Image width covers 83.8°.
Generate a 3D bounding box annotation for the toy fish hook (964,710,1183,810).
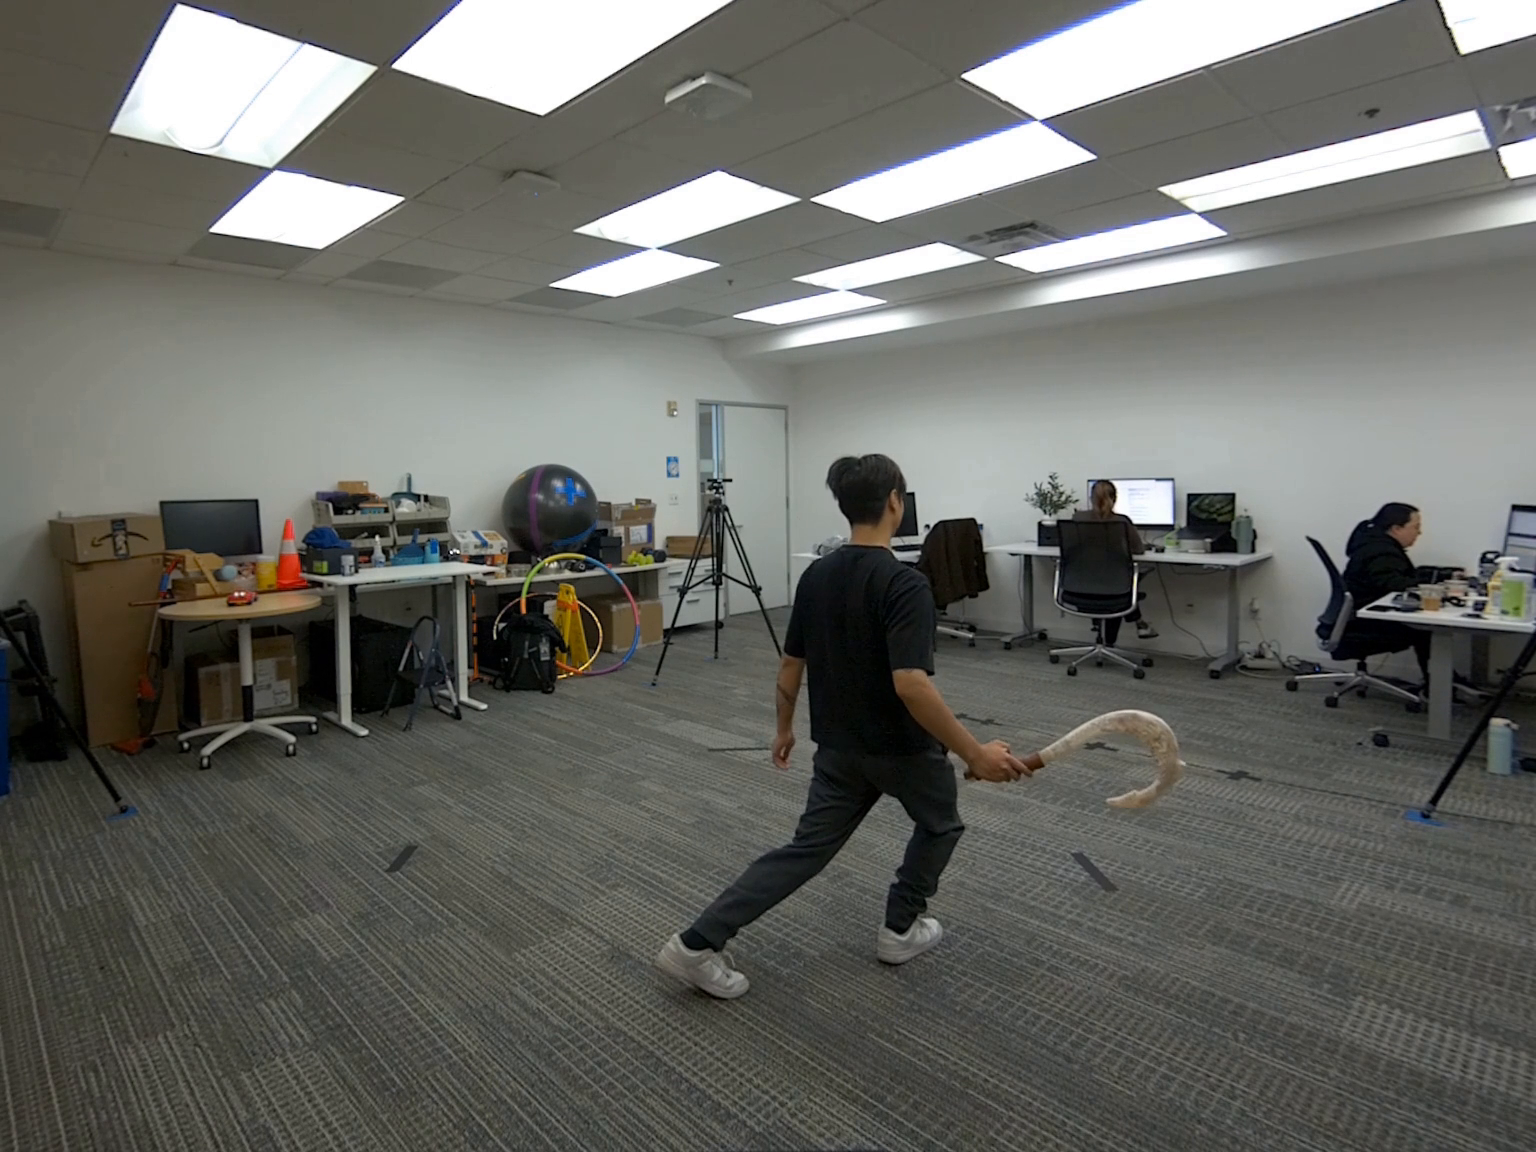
[{"bbox_3d":[0.746,0.472,2.139,0.512,0.230,0.046,-19,-25,20],"label":"toy fish hook"}]
